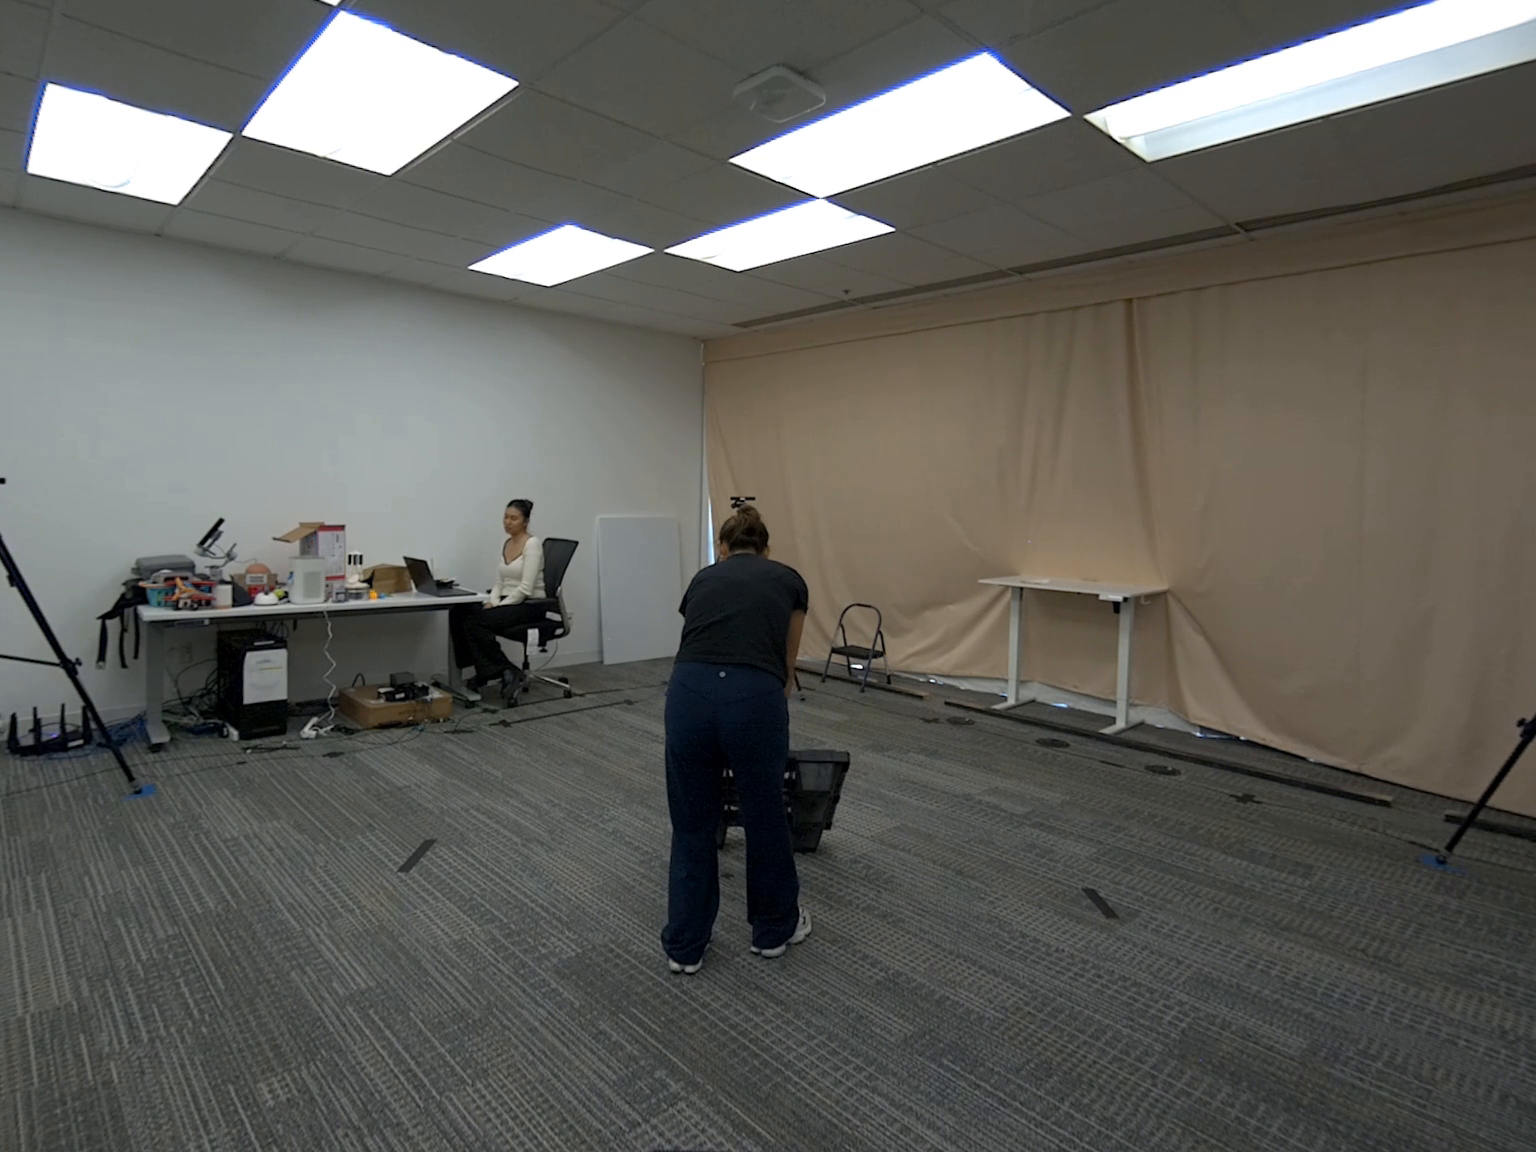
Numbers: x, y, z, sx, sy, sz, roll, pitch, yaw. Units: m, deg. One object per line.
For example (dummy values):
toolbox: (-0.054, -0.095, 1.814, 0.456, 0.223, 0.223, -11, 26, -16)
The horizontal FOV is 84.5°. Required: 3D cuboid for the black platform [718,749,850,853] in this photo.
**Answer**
black platform: (-0.036, 0.837, 3.058, 0.605, 0.146, 0.789, 2, -33, 0)
